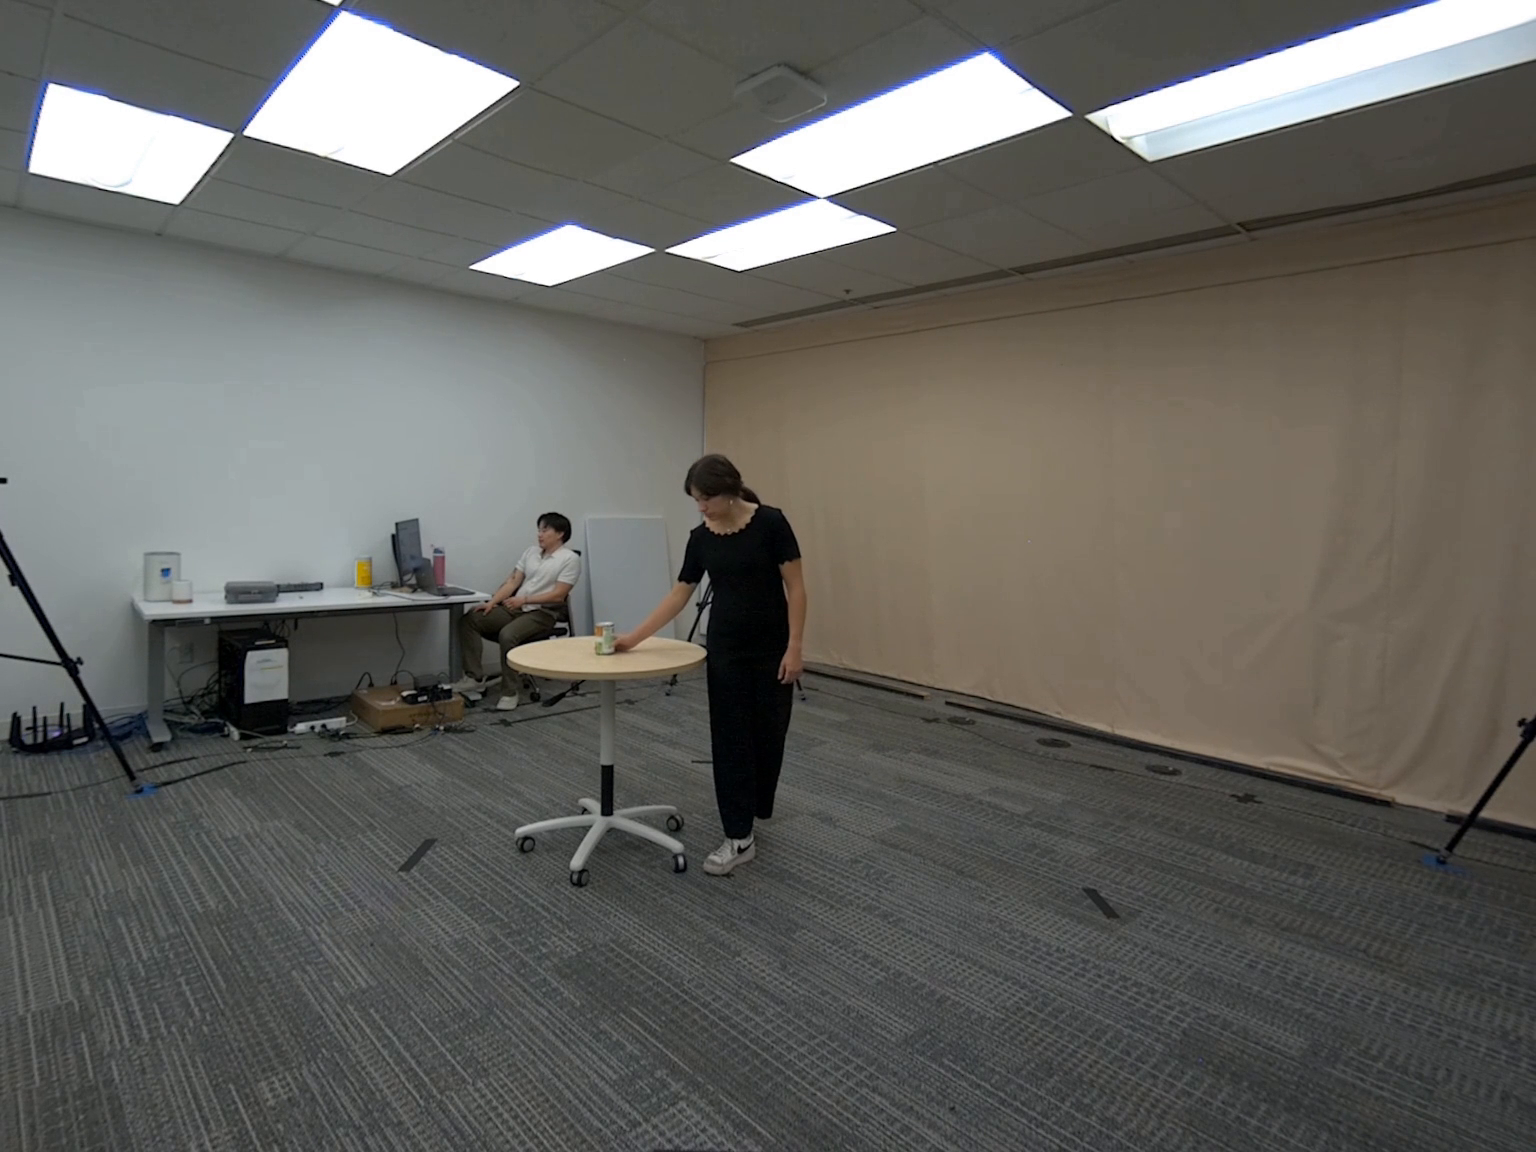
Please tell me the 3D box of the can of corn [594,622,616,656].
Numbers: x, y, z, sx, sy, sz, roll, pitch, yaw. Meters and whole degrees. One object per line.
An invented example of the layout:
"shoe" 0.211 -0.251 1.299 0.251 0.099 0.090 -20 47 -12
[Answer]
"can of corn" -0.632 0.239 3.235 0.074 0.111 0.074 1 -2 -1
